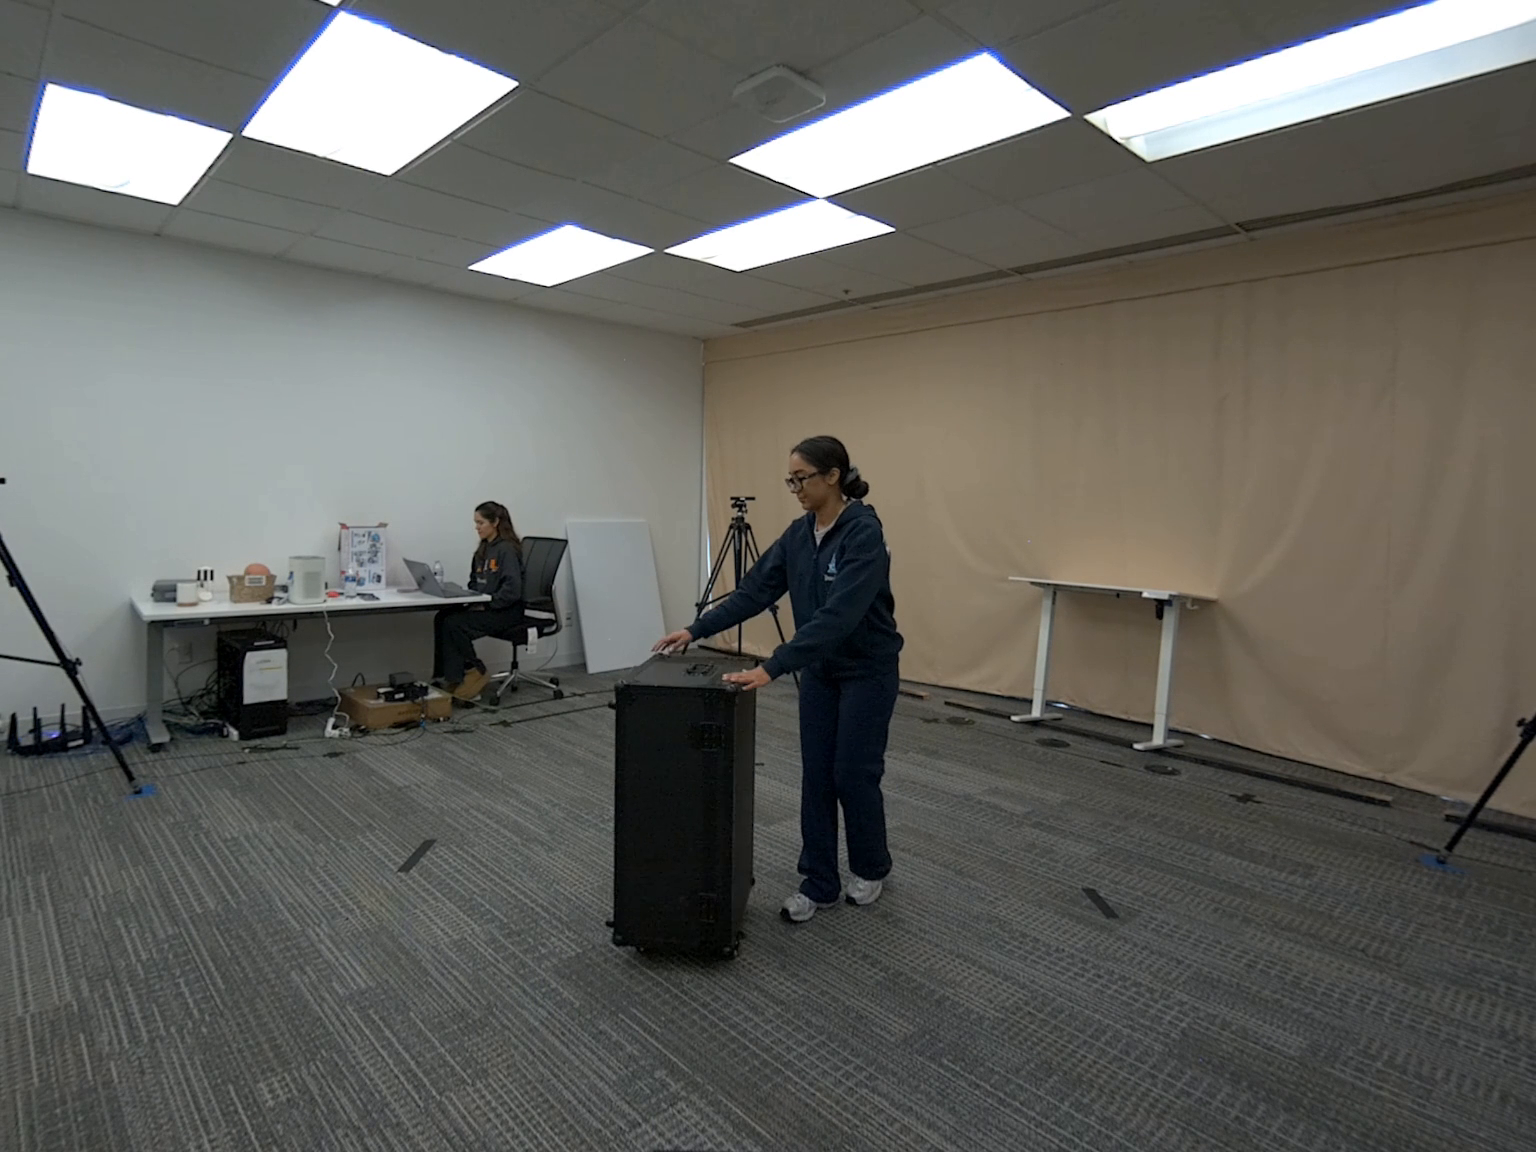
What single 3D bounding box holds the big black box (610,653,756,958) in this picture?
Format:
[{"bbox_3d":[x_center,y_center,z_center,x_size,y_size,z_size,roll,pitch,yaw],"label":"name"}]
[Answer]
[{"bbox_3d":[-0.256,0.724,2.654,0.399,0.859,0.519,1,3,8],"label":"big black box"}]
